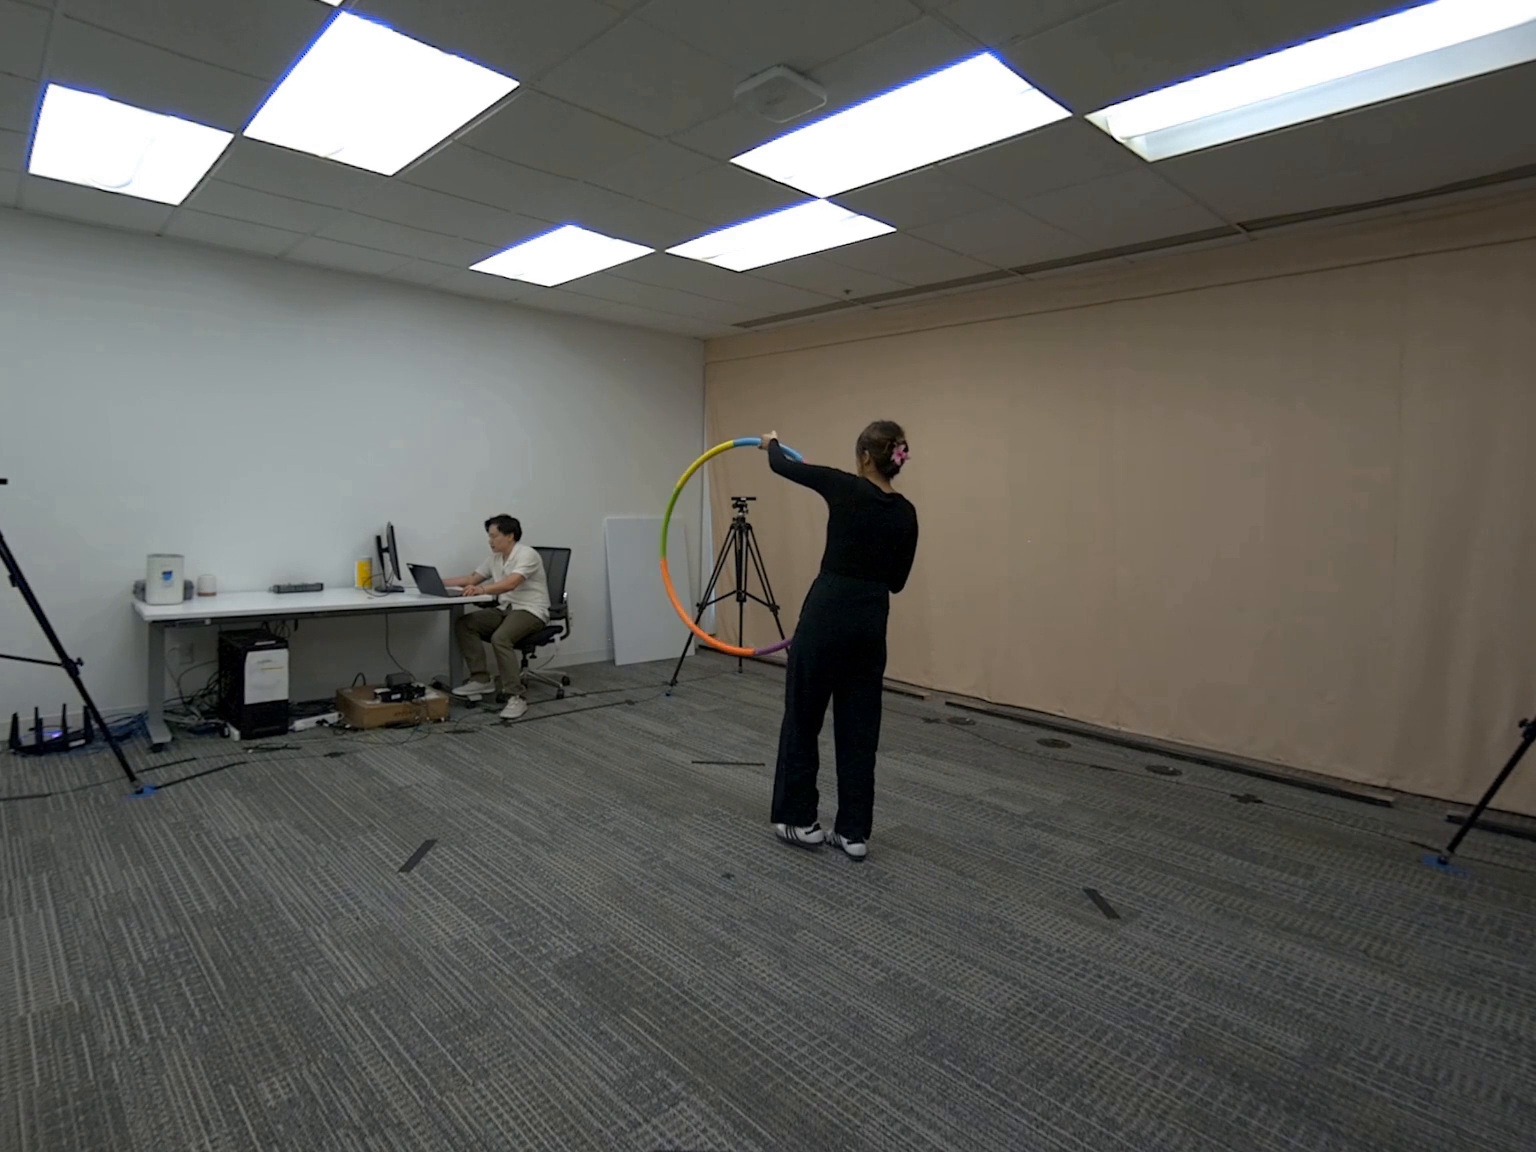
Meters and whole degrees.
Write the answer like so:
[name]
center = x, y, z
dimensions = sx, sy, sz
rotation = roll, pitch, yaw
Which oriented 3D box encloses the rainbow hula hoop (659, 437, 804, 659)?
[rainbow hula hoop]
center = -0.111, -0.128, 3.850
dimensions = 1.008, 0.984, 0.050
rotation = 4, 3, 33
